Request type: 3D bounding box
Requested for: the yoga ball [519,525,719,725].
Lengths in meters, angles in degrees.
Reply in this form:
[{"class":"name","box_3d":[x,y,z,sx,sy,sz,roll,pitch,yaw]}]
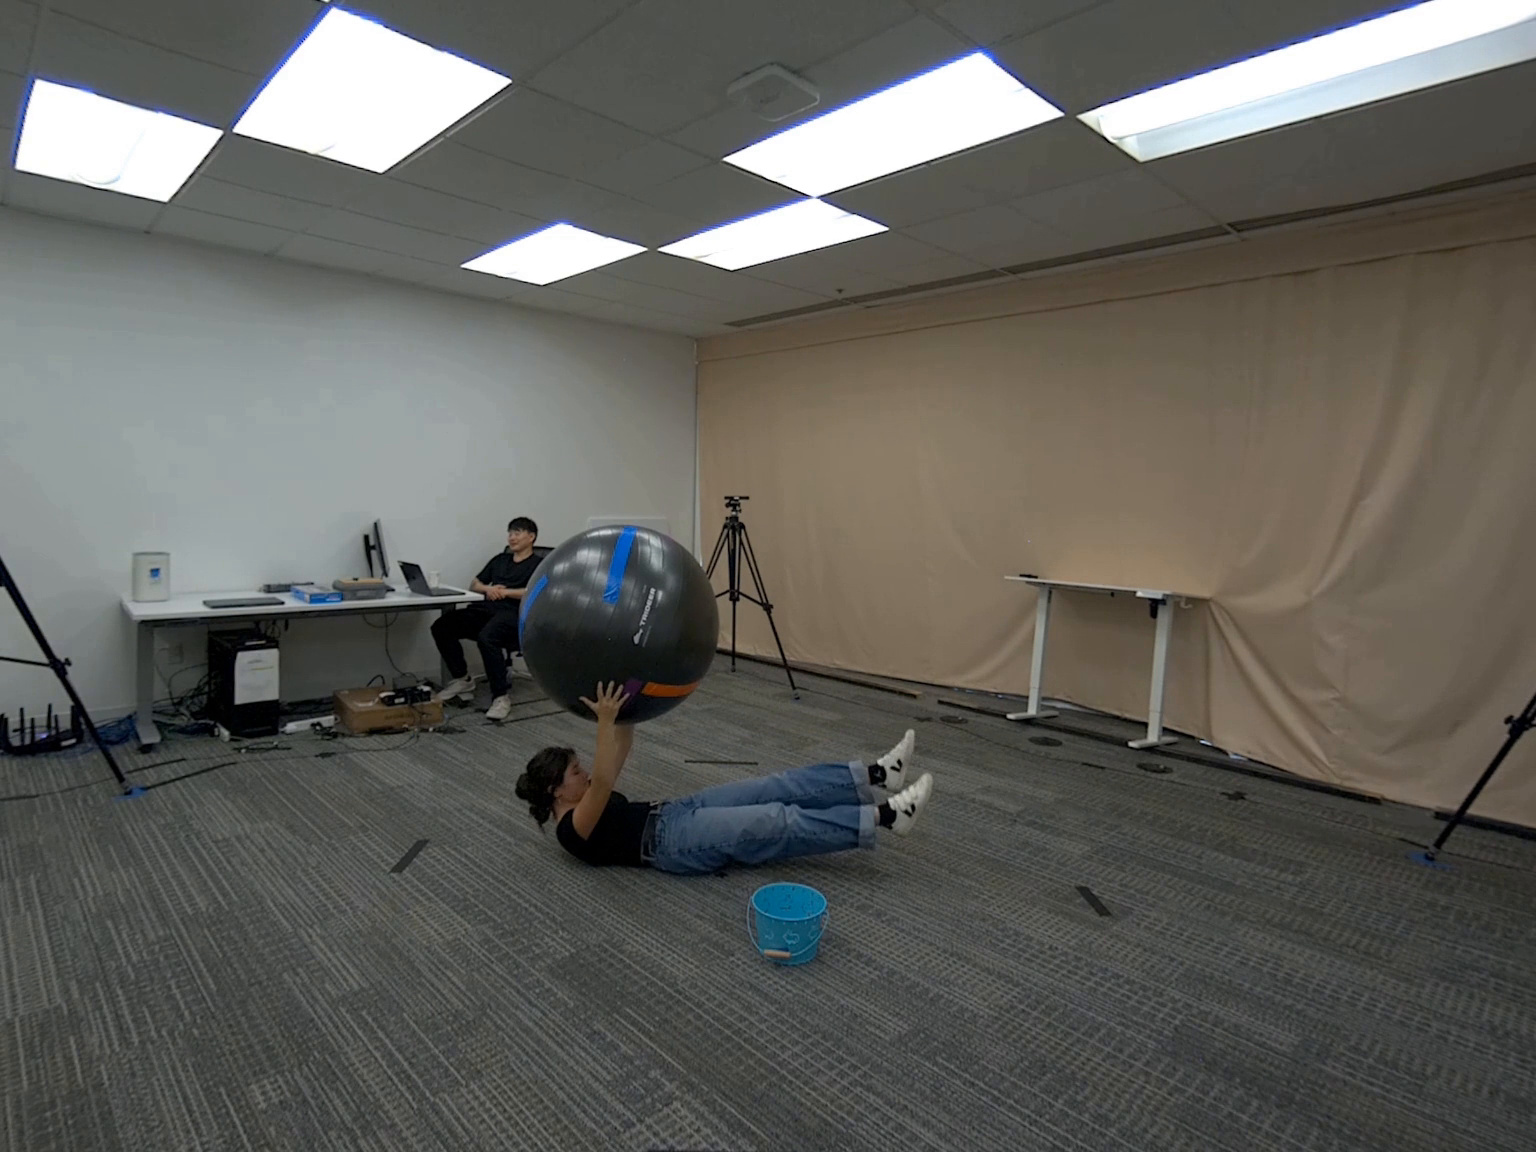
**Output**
[{"class":"yoga ball","box_3d":[-0.565,0.187,3.207,0.757,0.756,0.761,1,4,-1]}]
